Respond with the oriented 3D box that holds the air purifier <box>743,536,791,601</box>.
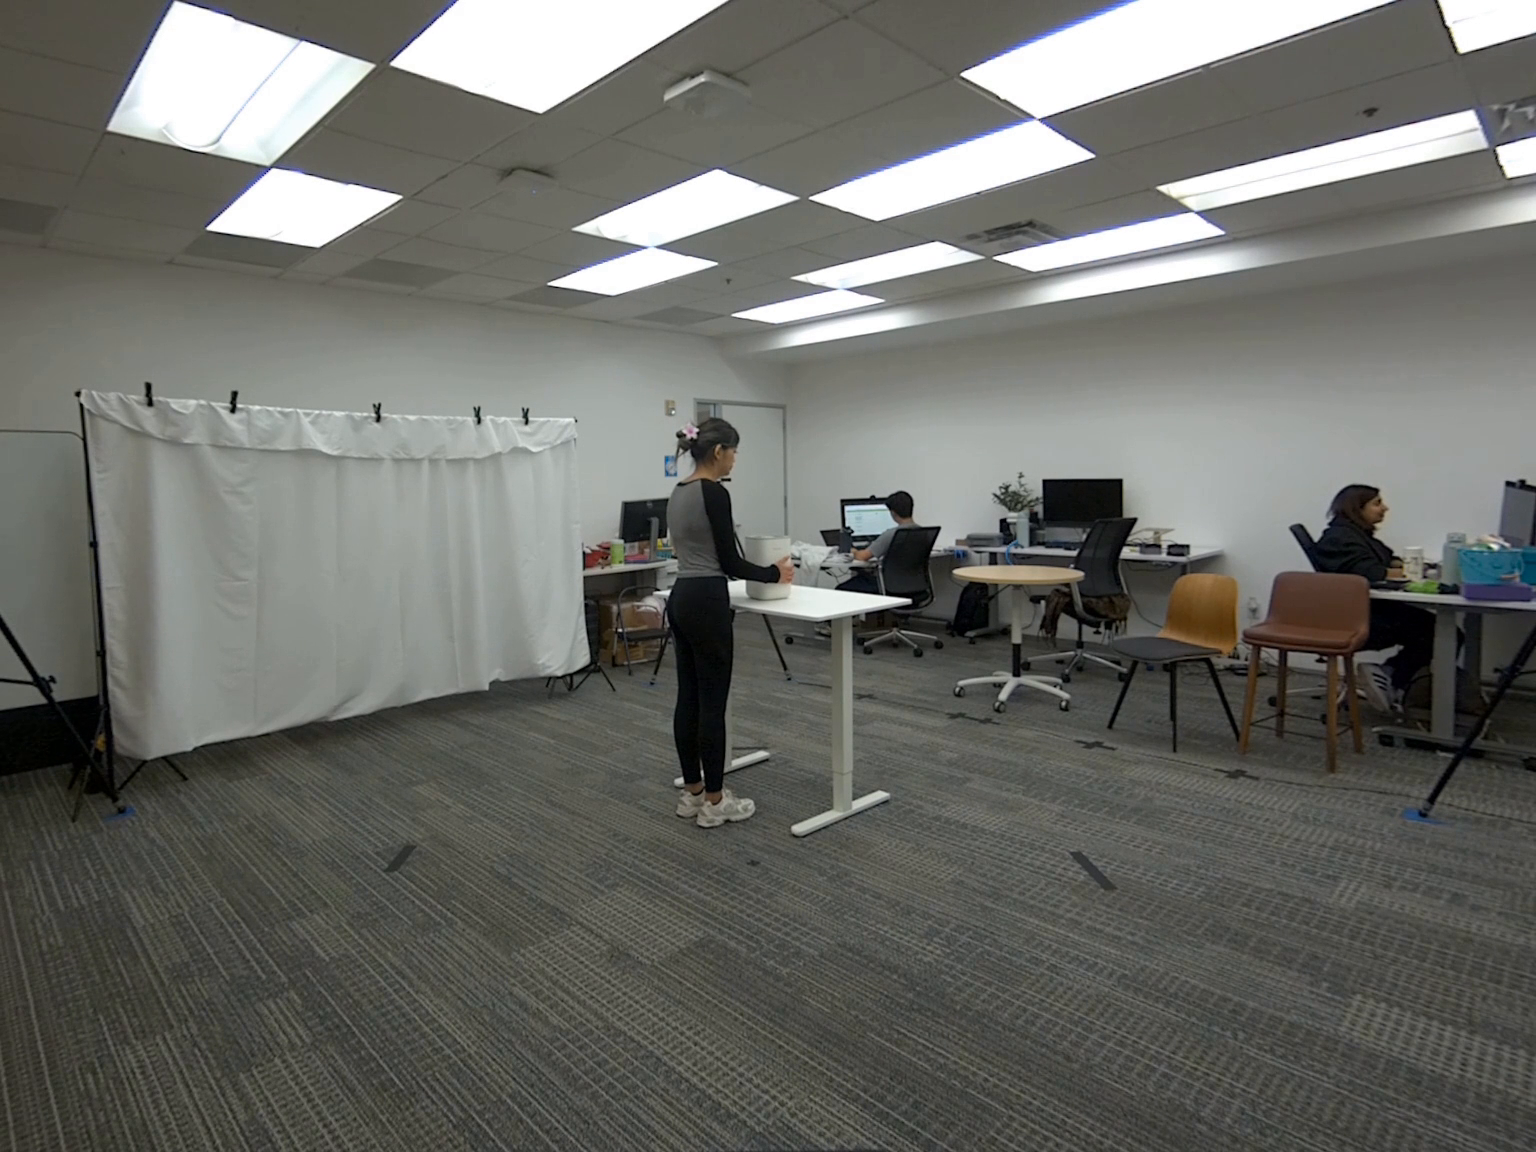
[{"bbox_3d":[0.003,-0.036,3.670,0.167,0.264,0.176,-5,7,-30],"label":"air purifier"}]
